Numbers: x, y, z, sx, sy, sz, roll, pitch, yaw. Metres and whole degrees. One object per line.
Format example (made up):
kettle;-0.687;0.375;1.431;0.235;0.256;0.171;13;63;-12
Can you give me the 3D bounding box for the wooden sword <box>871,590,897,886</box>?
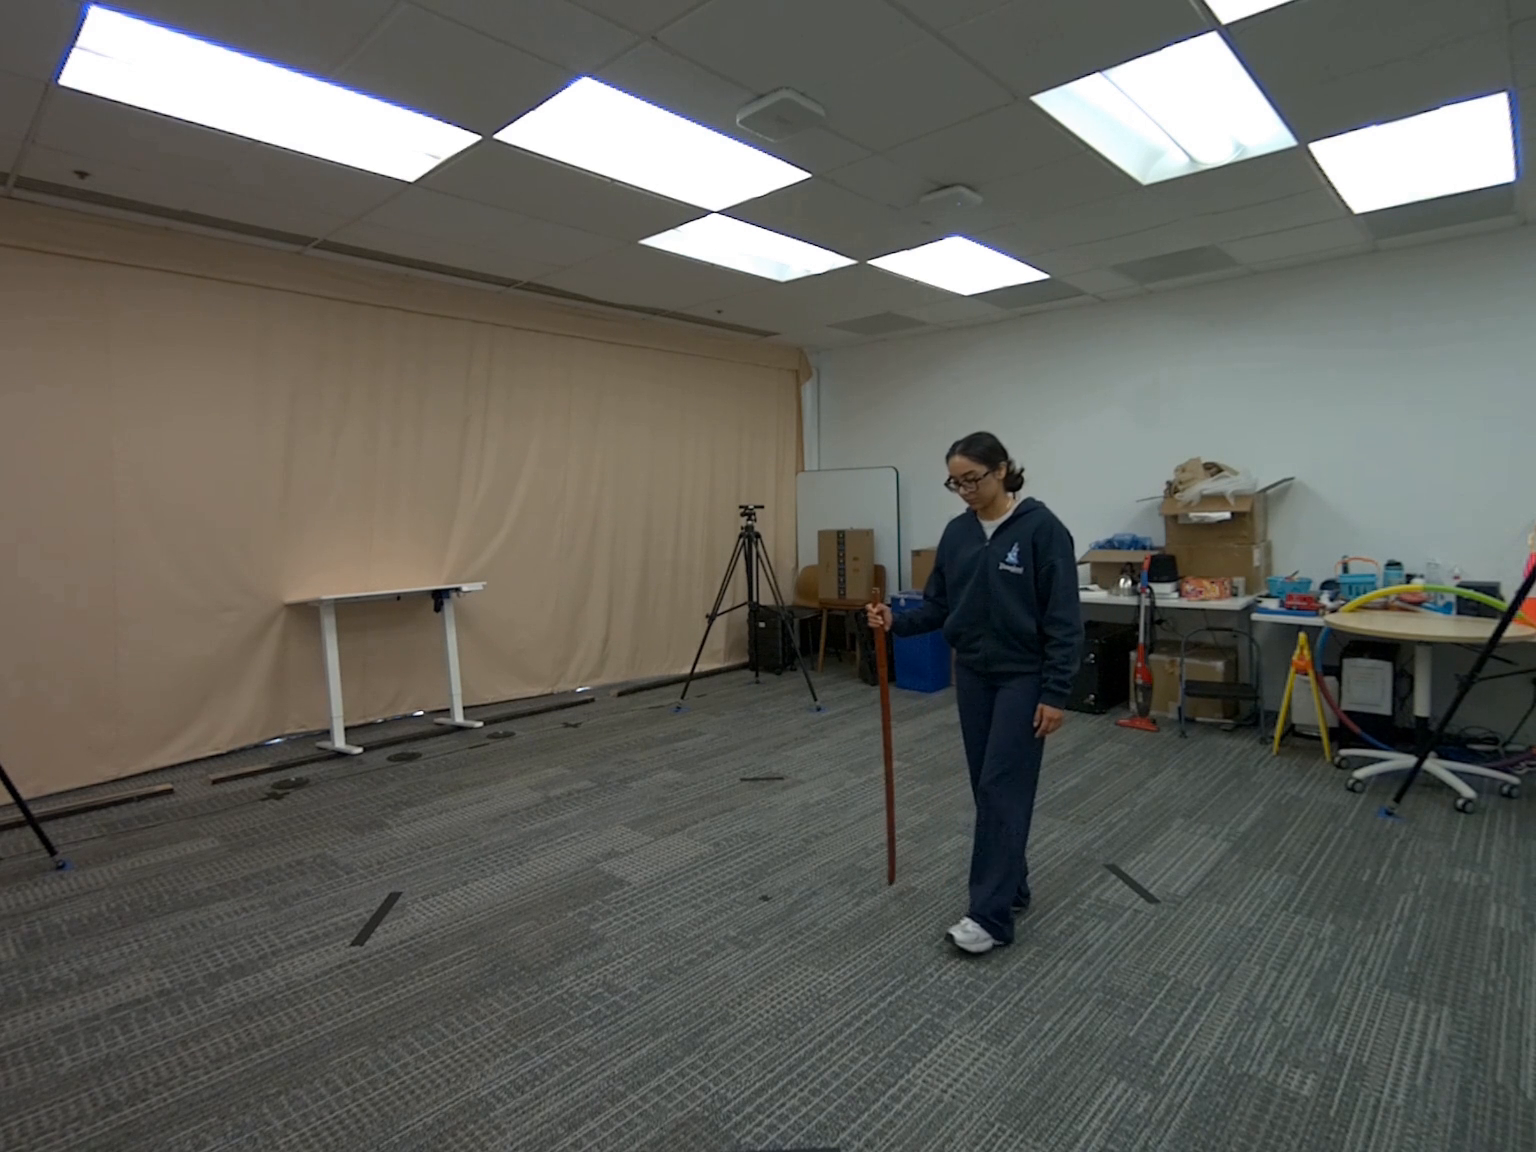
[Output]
wooden sword;0.406;0.589;2.869;0.050;1.022;0.024;-5;4;-15
